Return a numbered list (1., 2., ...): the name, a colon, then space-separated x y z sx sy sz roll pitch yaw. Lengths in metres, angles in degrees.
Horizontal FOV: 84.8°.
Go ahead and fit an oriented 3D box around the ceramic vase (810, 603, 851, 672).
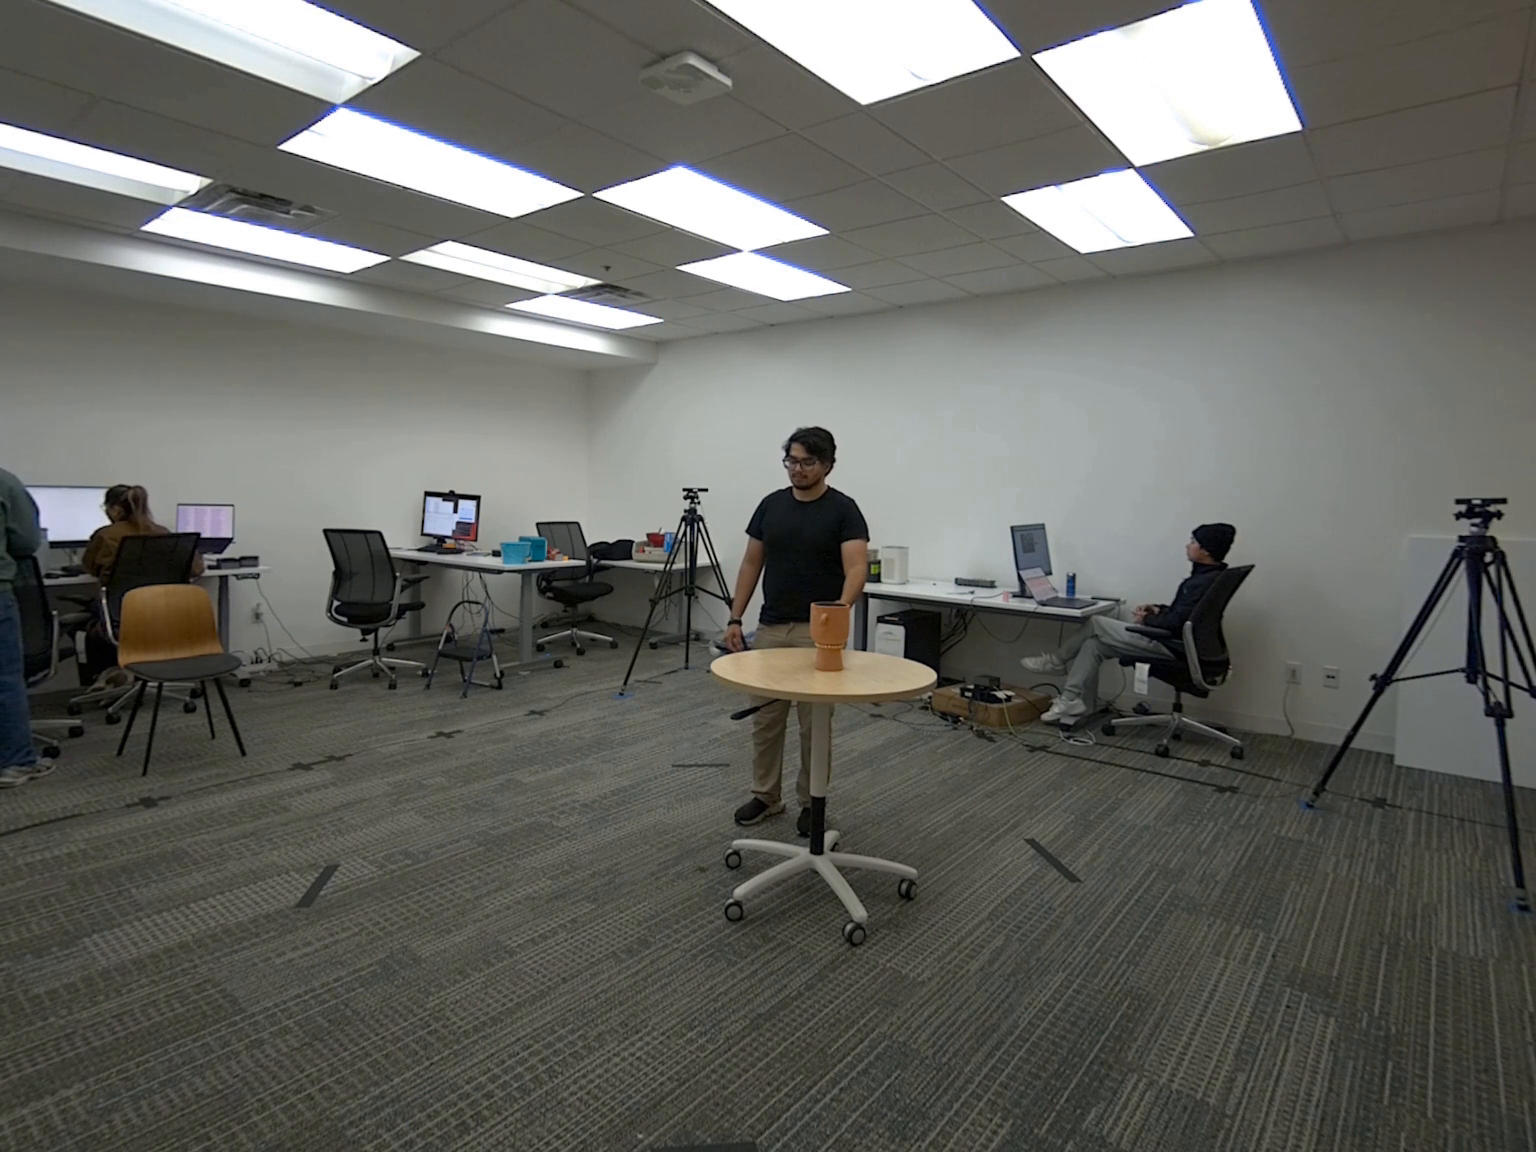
1. ceramic vase: 0.204 0.202 2.908 0.154 0.219 0.139 -2 4 -32
